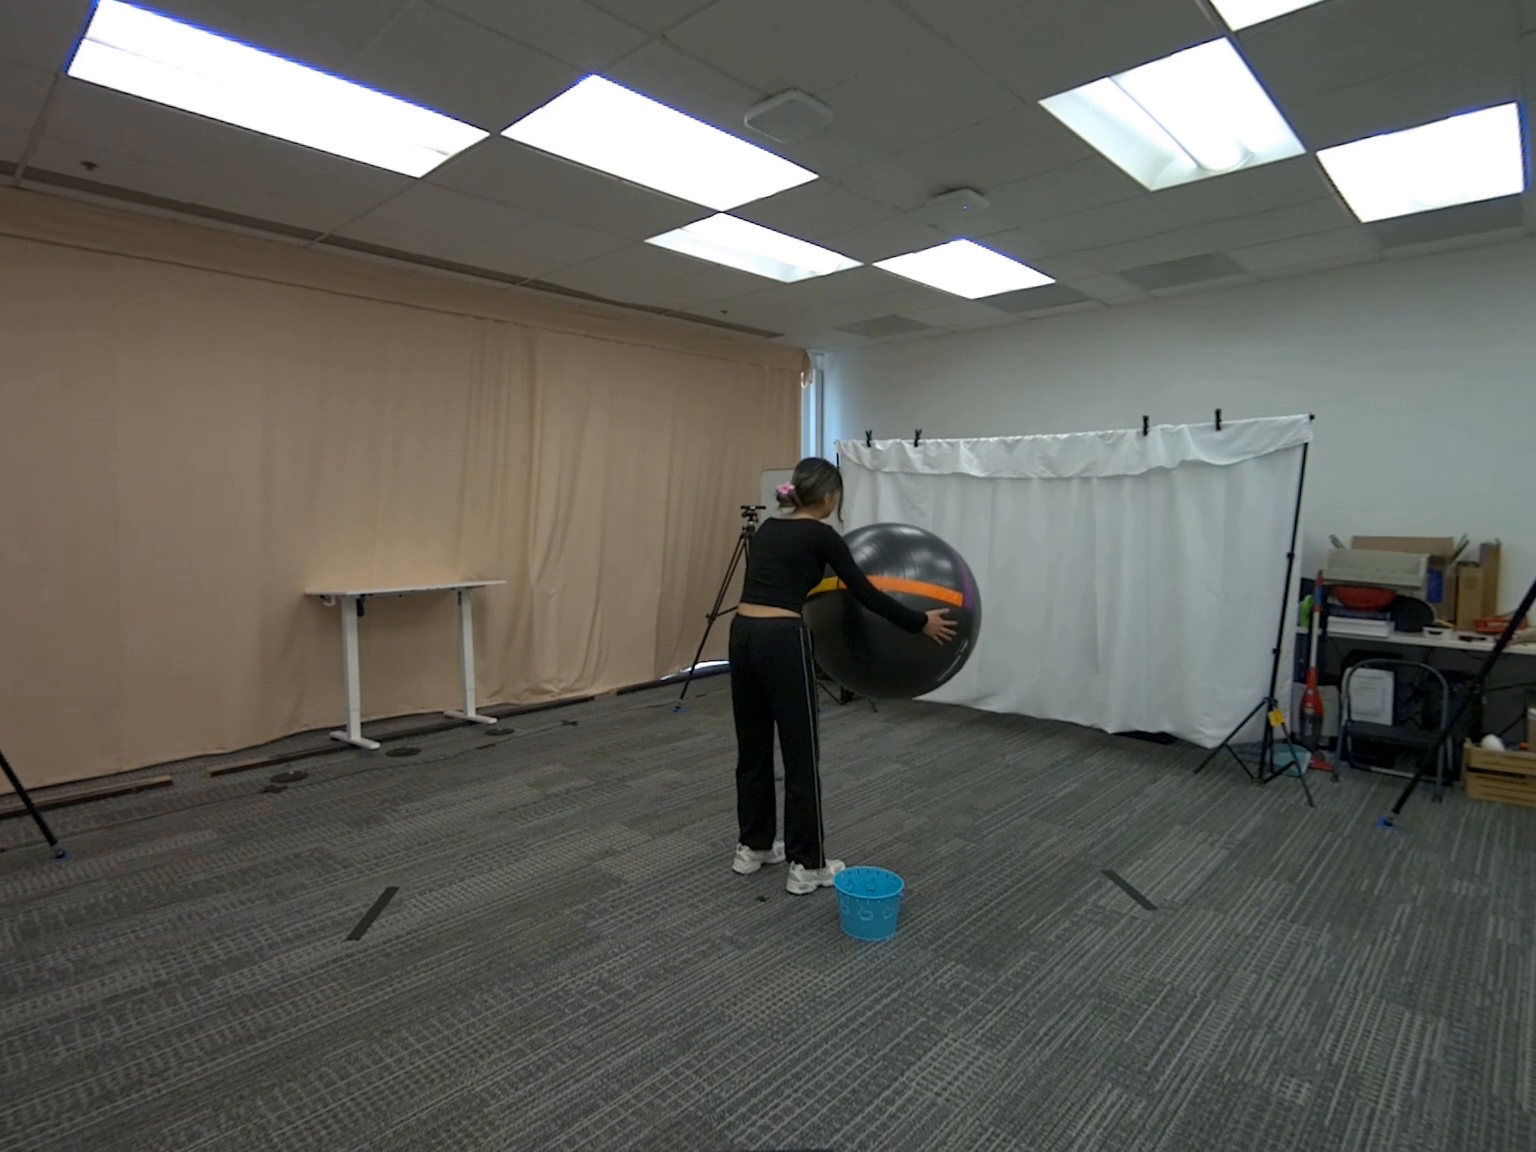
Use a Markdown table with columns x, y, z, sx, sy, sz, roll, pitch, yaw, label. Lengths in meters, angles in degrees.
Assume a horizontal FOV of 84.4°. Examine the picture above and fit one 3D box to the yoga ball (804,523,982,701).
| x | y | z | sx | sy | sz | roll | pitch | yaw | label |
| --- | --- | --- | --- | --- | --- | --- | --- | --- | --- |
| 0.534 | 0.155 | 3.620 | 0.757 | 0.756 | 0.760 | 0 | 4 | -2 | yoga ball |
